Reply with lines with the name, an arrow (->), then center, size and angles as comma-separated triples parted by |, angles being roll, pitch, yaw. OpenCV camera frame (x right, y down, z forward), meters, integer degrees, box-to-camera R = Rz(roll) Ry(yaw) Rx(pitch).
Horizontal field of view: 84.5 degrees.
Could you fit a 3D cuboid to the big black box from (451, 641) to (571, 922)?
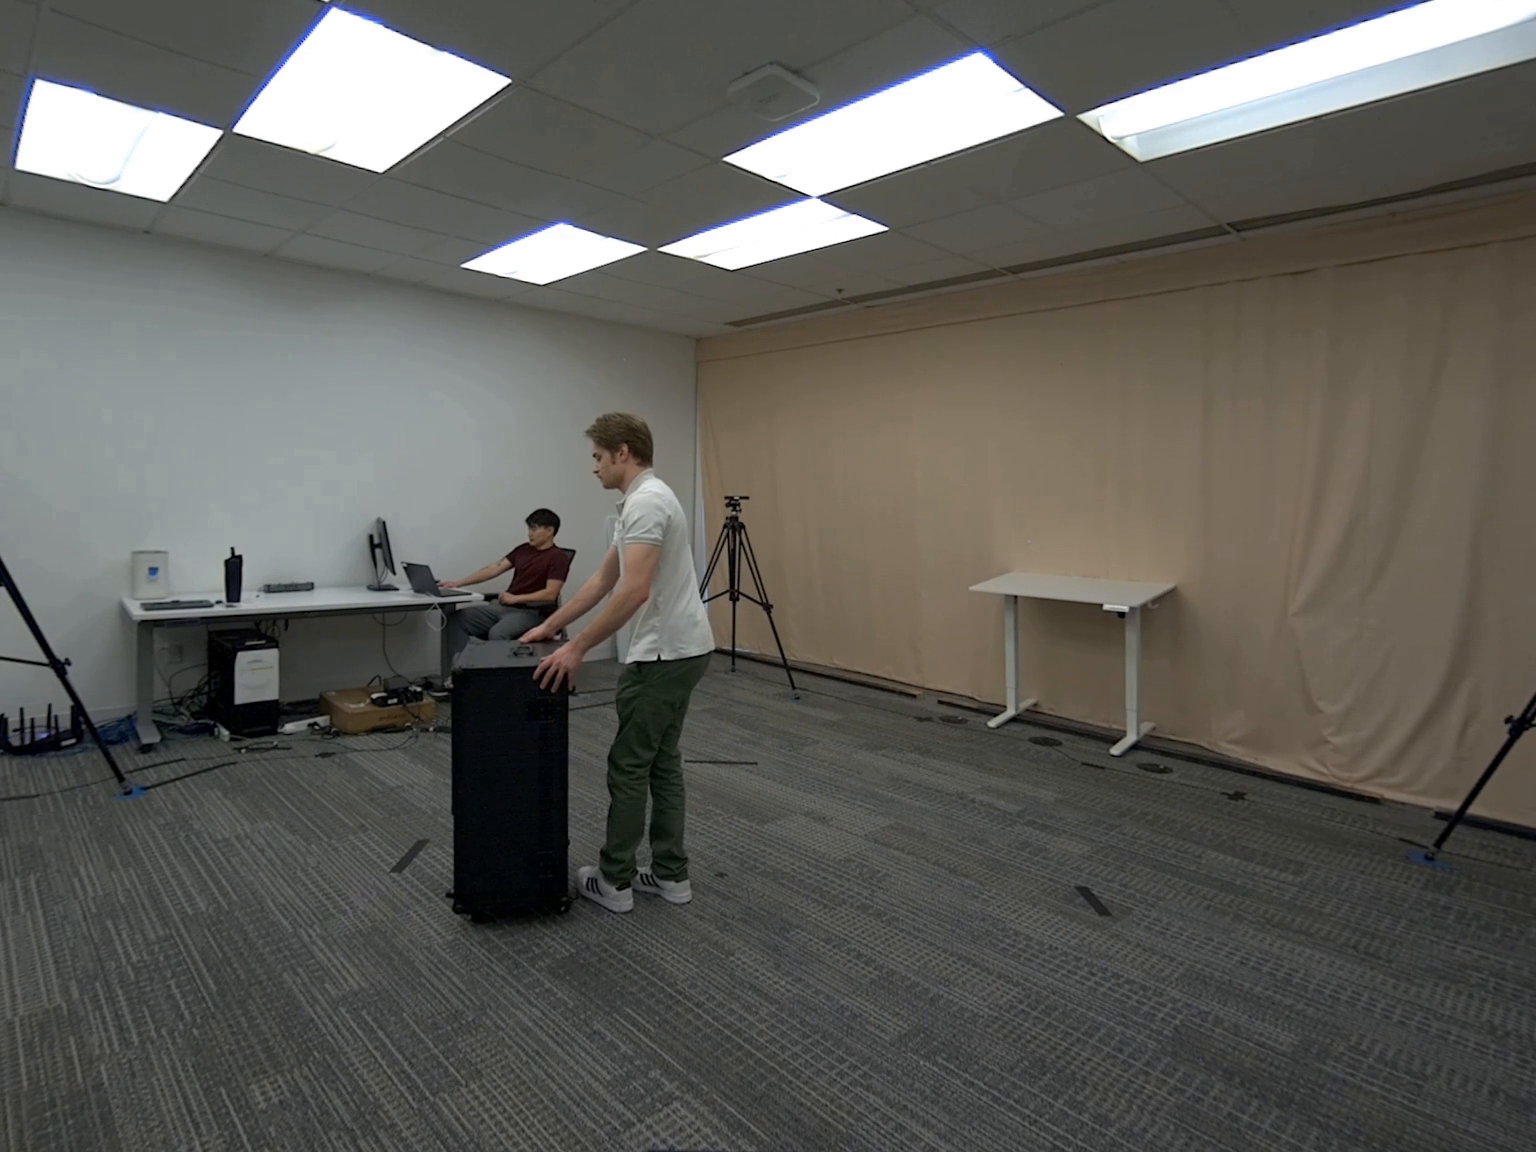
big black box -> -0.872, 0.683, 2.869 | 0.381, 0.866, 0.530 | 0, 4, -13
